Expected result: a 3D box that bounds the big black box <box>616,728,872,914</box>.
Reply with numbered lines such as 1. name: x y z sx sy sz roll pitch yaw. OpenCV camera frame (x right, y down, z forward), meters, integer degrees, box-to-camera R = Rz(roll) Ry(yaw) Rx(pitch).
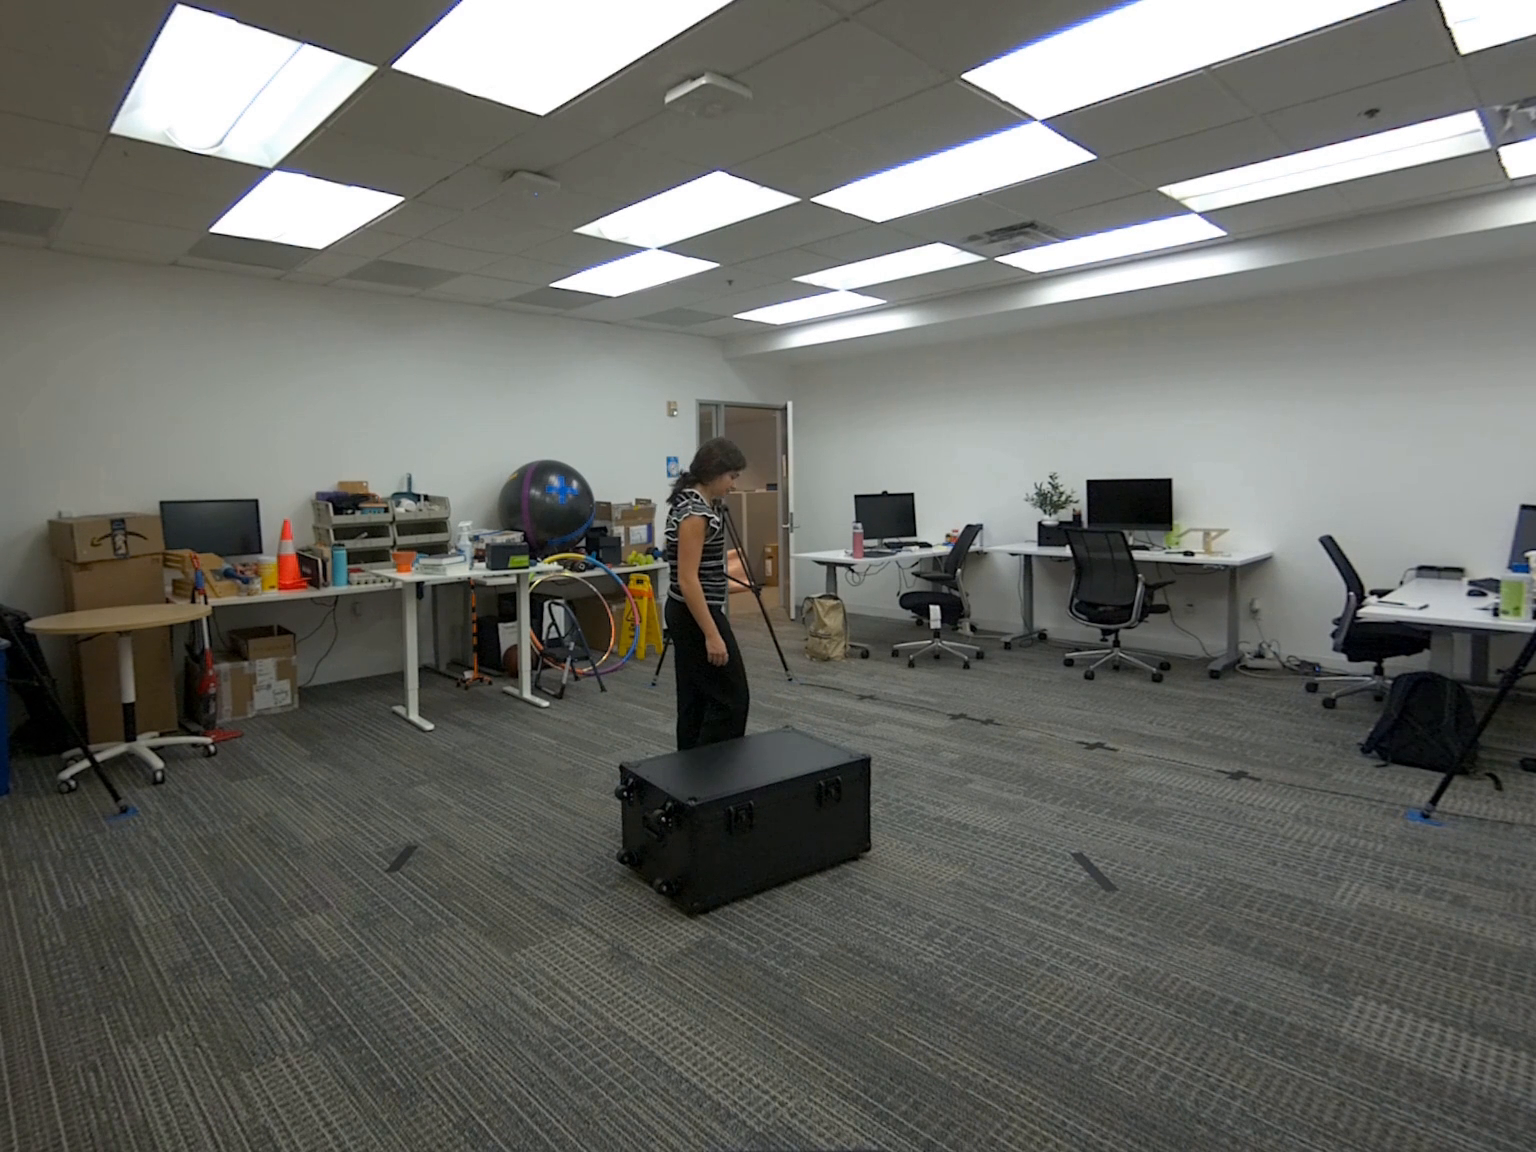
1. big black box: -0.104 0.856 3.094 0.839 0.394 0.537 -4 7 -35
